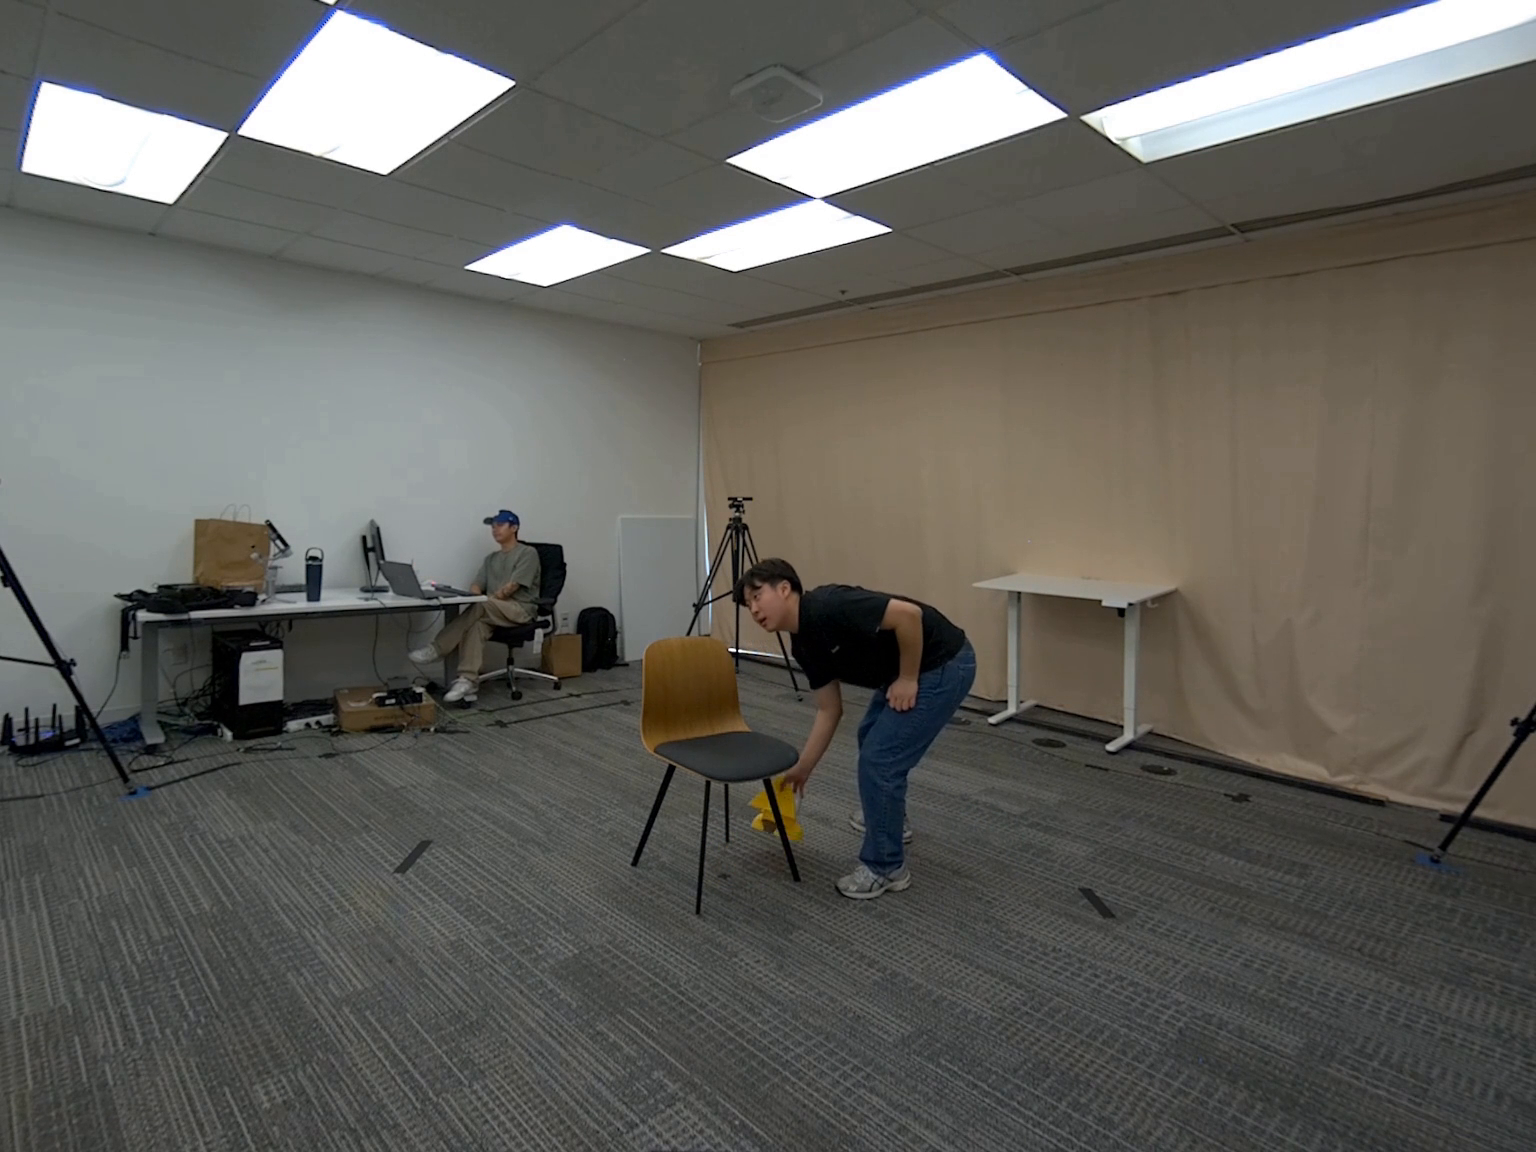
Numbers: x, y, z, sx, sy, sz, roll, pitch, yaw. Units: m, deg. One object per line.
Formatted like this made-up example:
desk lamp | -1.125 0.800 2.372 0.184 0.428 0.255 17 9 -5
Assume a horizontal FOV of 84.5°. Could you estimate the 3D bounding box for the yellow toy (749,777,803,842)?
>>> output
yellow toy | 0.056 0.893 3.303 0.209 0.232 0.187 6 -14 31
